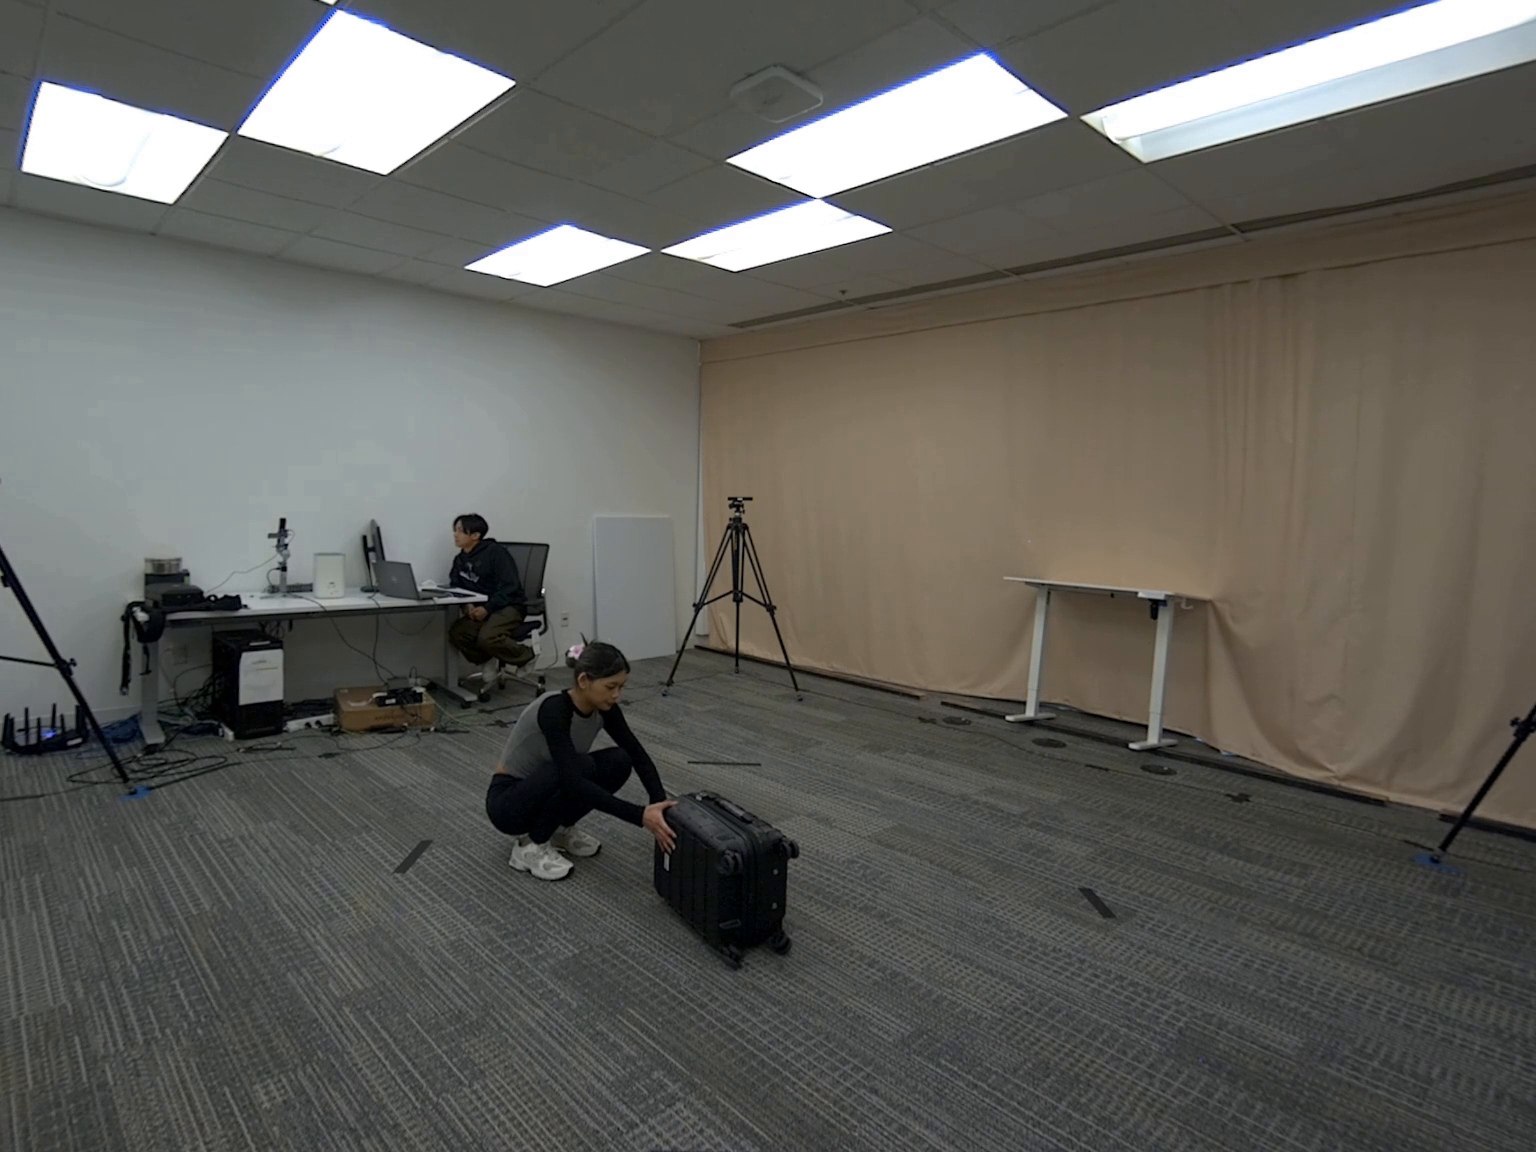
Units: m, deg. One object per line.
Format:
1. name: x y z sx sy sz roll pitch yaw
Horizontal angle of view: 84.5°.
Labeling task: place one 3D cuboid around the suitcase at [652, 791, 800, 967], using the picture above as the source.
1. suitcase: -0.280 0.938 2.923 0.251 0.383 1.002 0 5 -33
